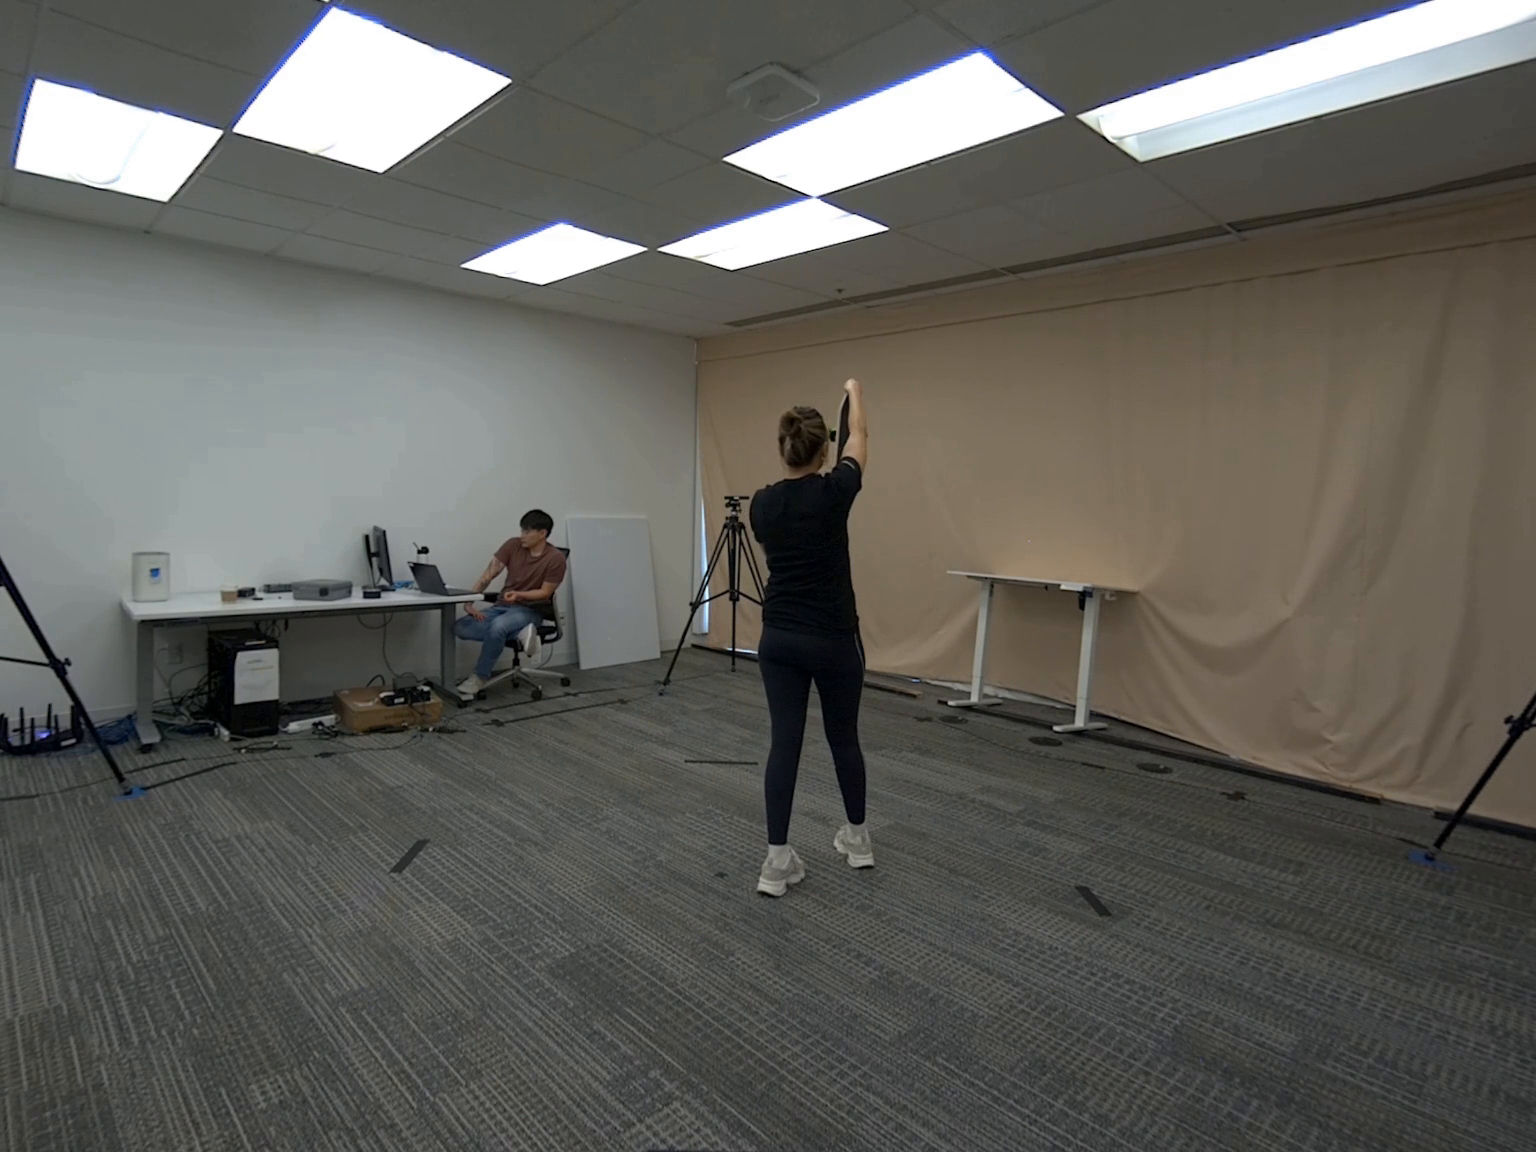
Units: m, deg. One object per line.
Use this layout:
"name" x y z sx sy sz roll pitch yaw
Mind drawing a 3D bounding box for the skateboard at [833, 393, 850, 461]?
"skateboard" 0.261 -0.380 3.445 0.112 0.782 0.190 8 6 22
